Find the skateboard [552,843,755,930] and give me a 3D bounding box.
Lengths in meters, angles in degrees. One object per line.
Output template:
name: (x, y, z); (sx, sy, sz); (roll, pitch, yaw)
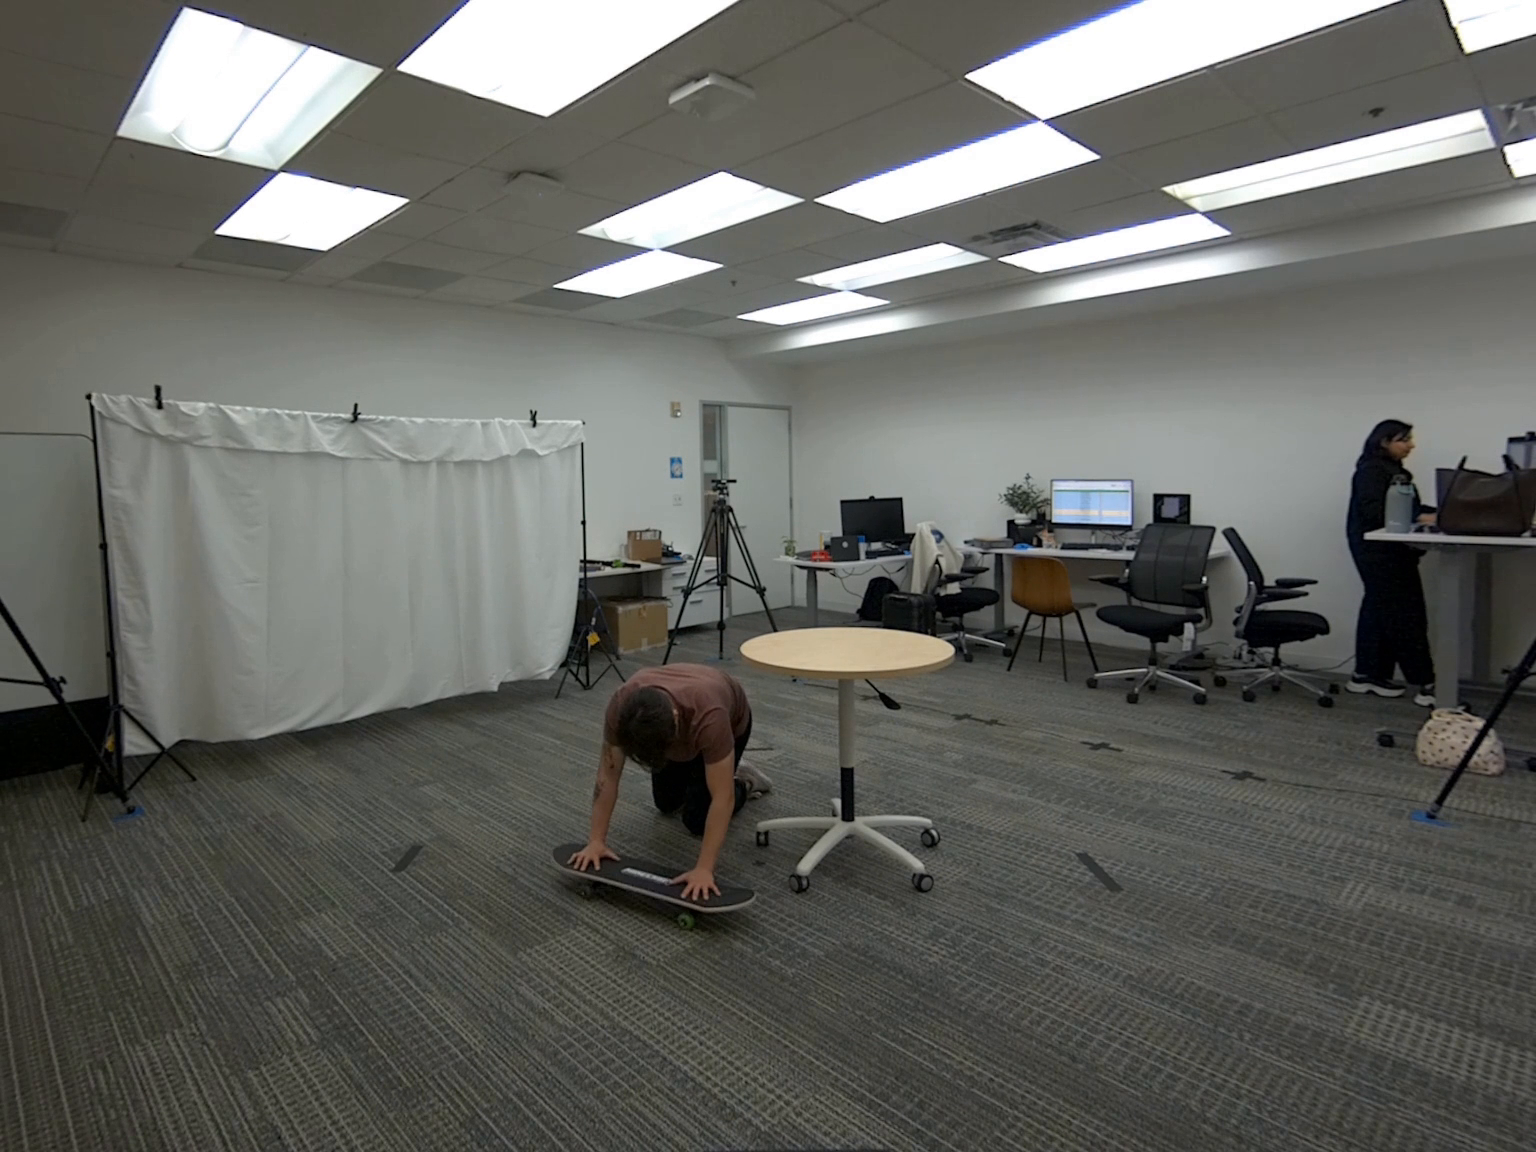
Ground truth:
skateboard: (-0.392, 1.035, 2.841); (0.806, 0.110, 0.189); (2, 5, 31)
